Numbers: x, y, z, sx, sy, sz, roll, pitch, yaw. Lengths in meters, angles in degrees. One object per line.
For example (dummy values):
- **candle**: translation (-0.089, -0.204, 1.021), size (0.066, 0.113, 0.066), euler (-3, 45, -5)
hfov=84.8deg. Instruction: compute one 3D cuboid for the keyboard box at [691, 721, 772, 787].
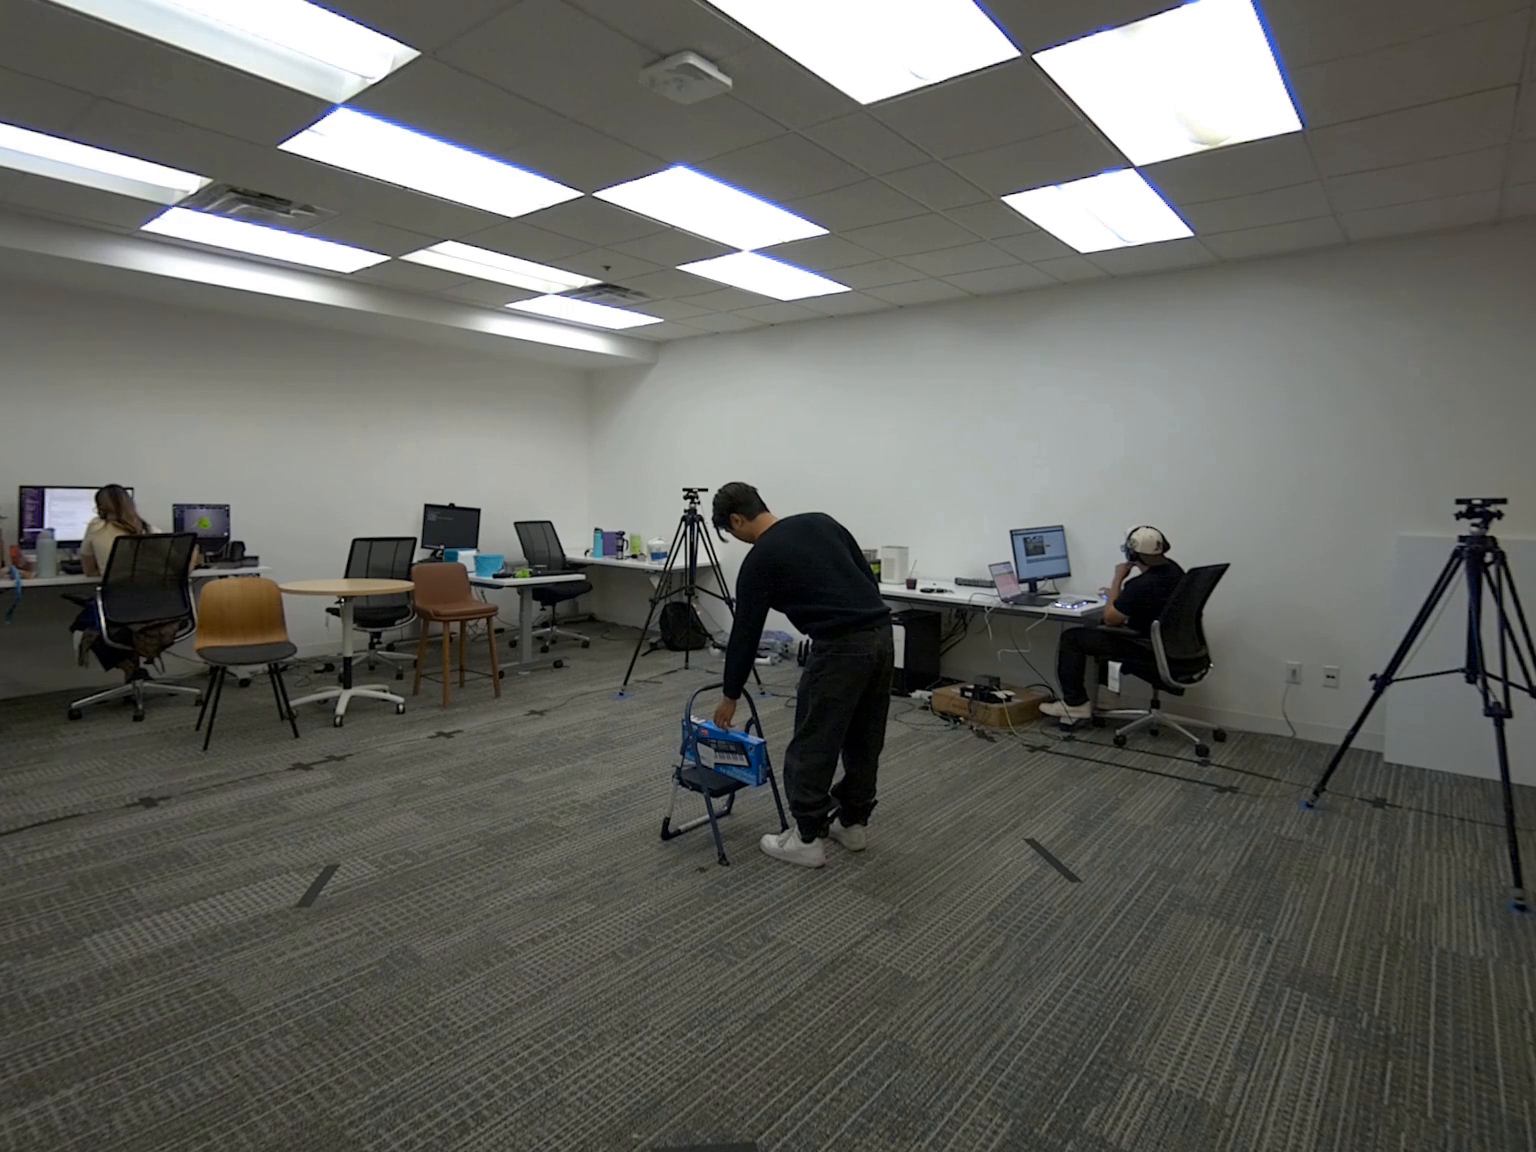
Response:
- **keyboard box**: translation (-0.196, 0.692, 3.401), size (0.057, 0.175, 0.452), euler (-6, 10, -45)
